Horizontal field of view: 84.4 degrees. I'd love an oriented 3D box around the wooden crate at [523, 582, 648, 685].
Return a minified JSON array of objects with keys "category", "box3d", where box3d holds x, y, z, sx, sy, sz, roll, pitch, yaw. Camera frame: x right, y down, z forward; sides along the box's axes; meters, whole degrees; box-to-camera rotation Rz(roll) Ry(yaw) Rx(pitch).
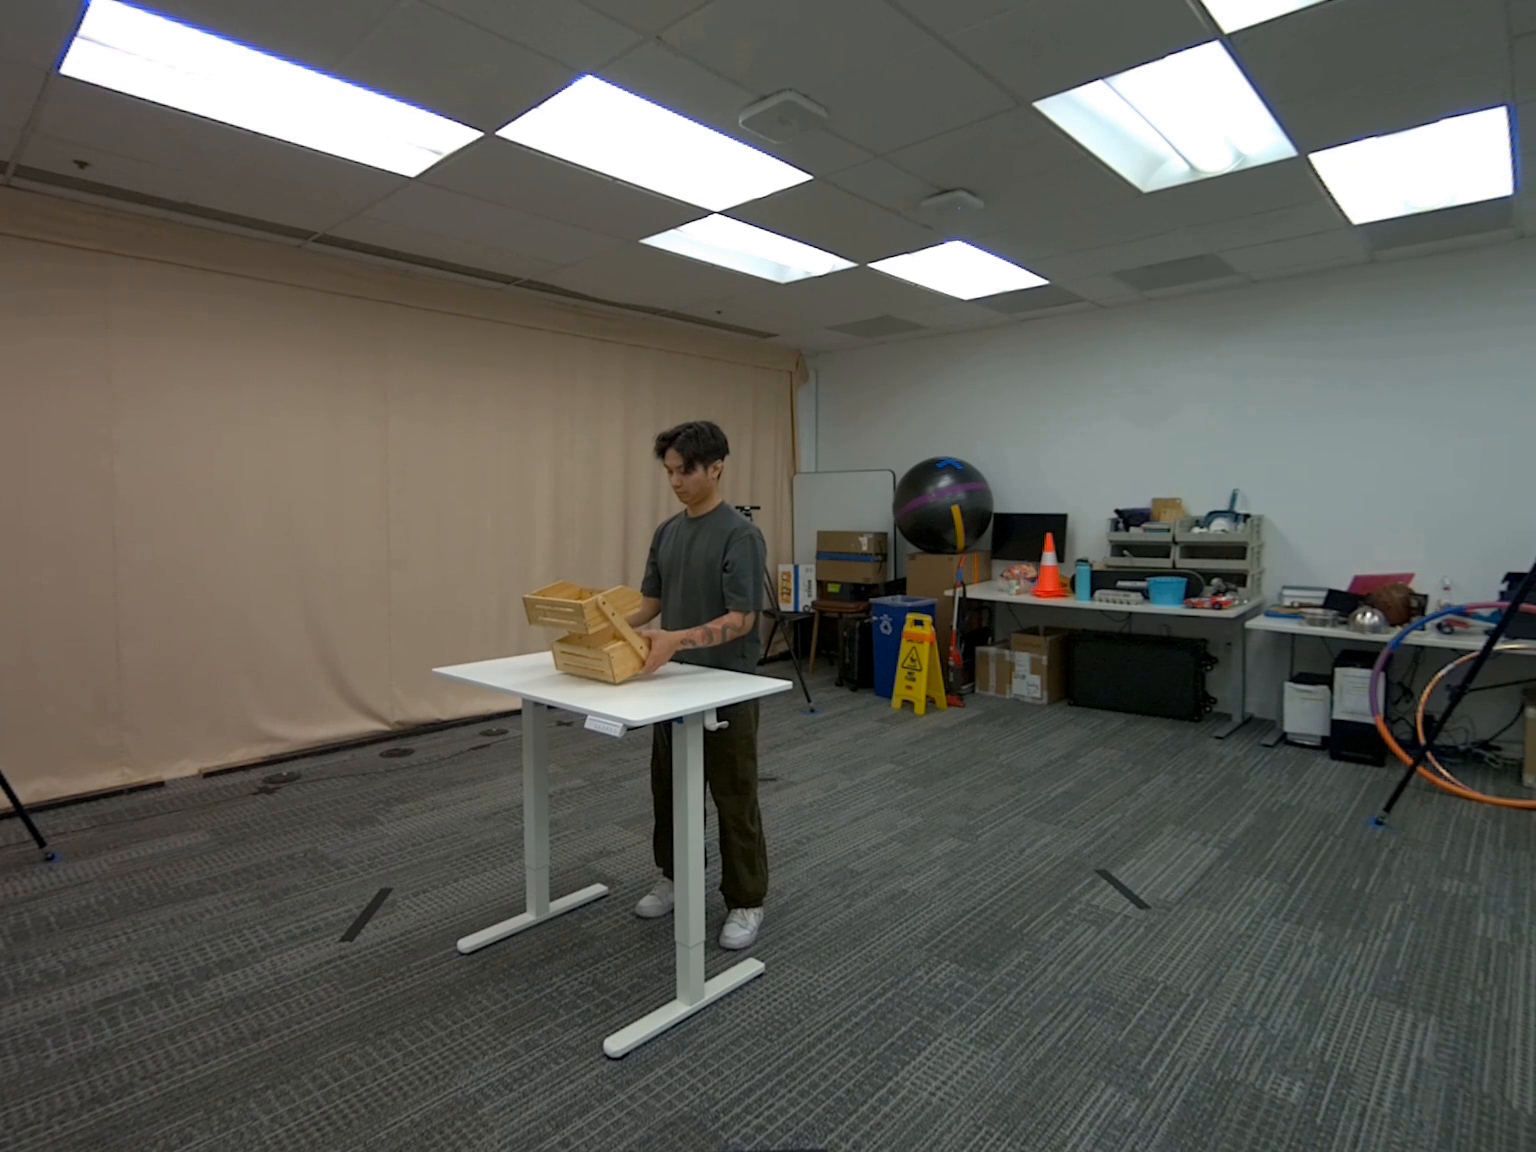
[{"category":"wooden crate","box3d":[-0.499,0.143,2.522,0.335,0.270,0.295,3,19,43]}]
